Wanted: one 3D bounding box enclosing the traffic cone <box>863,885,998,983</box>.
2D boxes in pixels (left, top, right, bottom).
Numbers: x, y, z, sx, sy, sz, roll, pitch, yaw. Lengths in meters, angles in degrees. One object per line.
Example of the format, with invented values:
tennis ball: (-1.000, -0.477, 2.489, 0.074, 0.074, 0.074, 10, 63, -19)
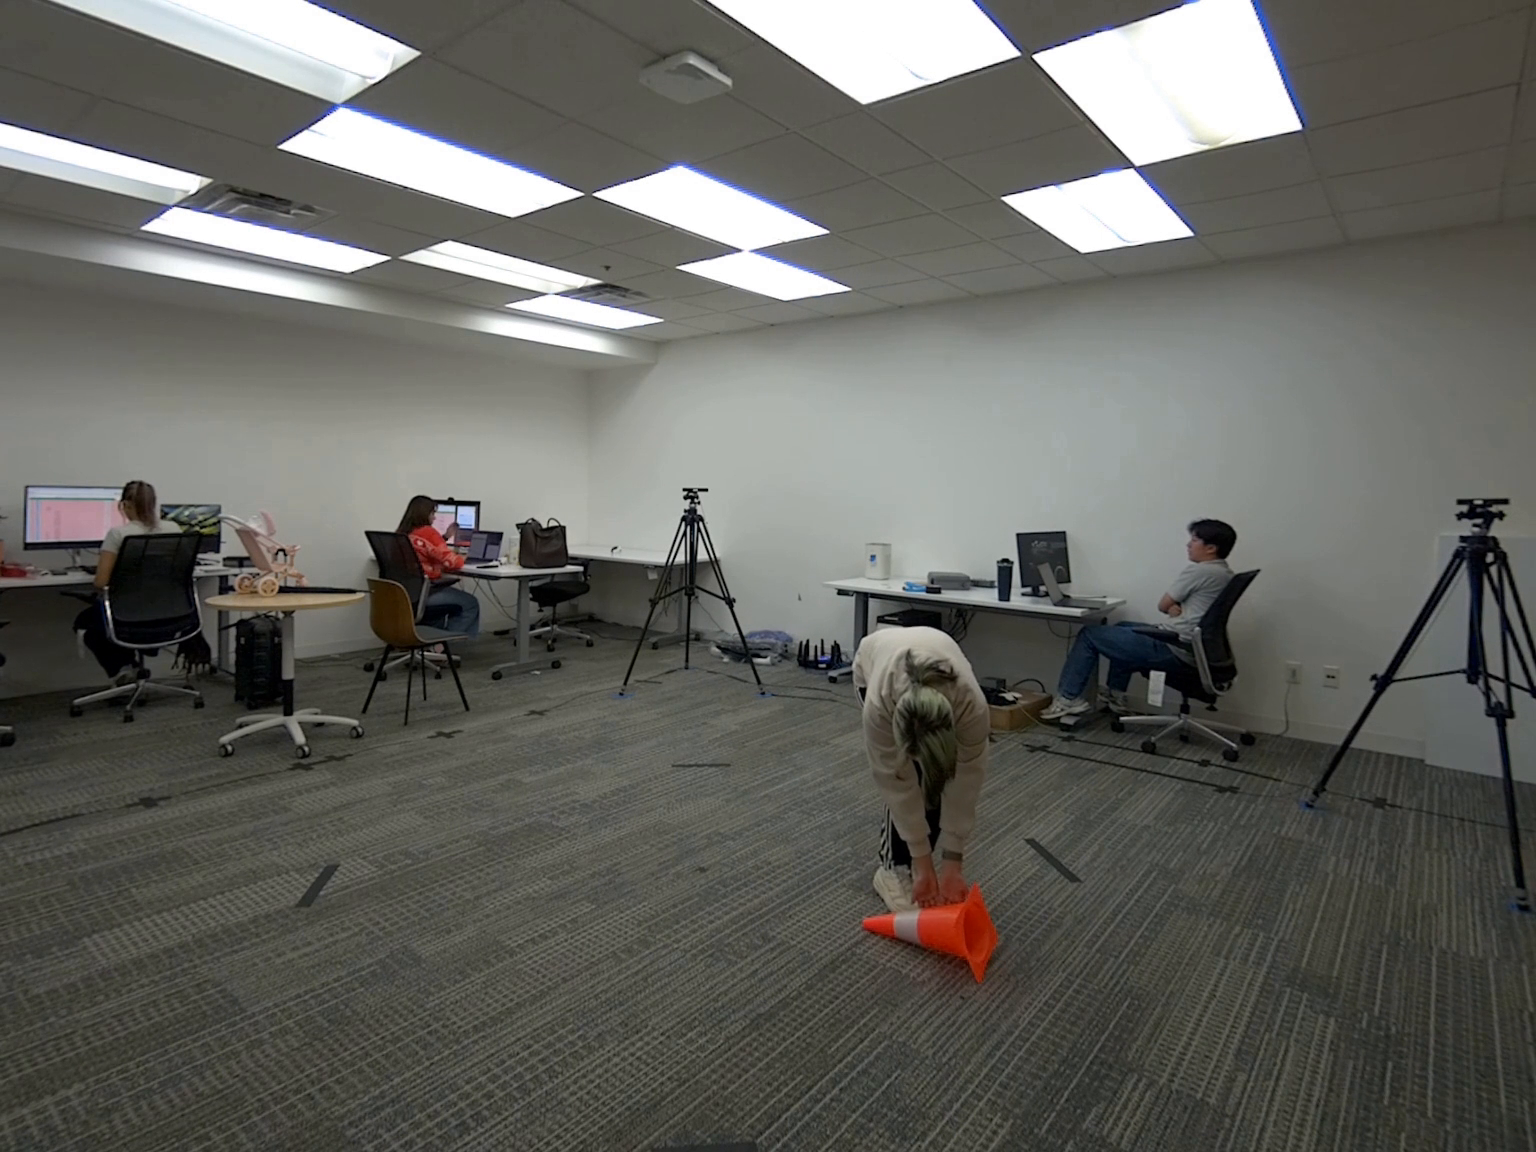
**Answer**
traffic cone: (0.457, 1.070, 2.606, 0.392, 0.201, 0.202, -13, 11, 37)
